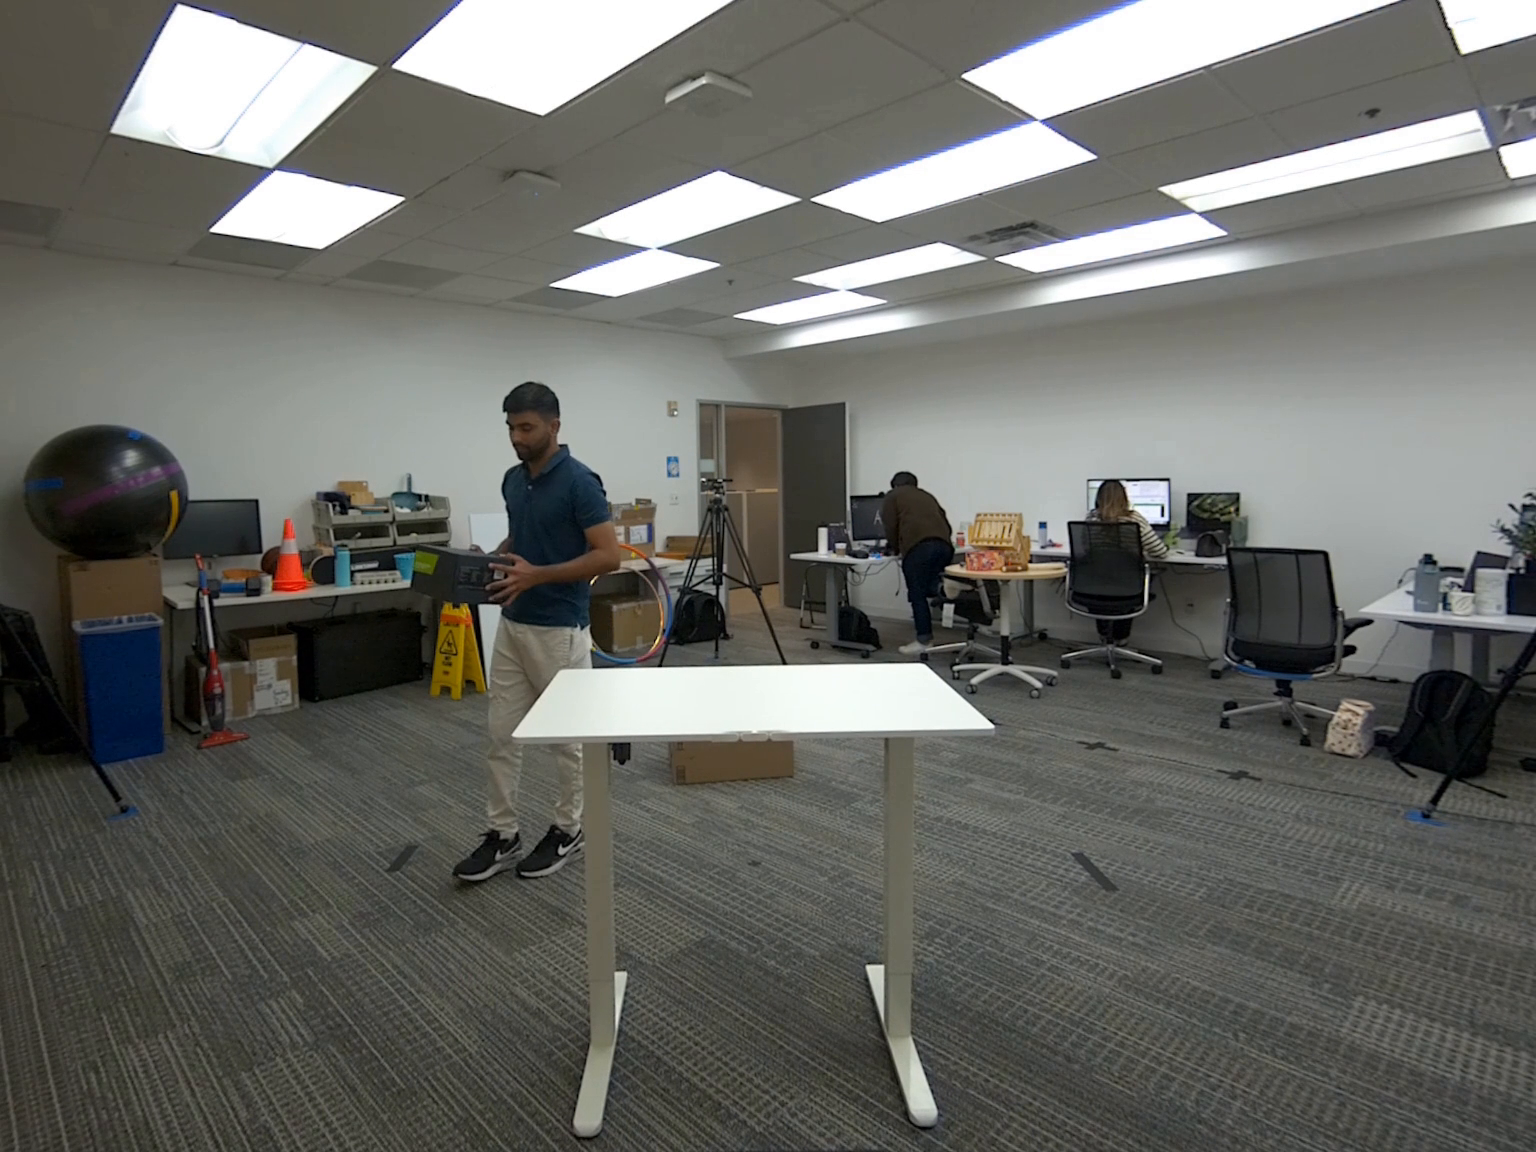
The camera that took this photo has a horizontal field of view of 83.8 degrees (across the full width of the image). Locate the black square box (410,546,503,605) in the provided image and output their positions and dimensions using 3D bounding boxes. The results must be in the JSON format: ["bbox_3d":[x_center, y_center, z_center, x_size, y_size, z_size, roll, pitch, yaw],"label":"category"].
[{"bbox_3d":[-1.013,-0.006,2.805,0.235,0.156,0.210,11,2,35],"label":"black square box"}]
